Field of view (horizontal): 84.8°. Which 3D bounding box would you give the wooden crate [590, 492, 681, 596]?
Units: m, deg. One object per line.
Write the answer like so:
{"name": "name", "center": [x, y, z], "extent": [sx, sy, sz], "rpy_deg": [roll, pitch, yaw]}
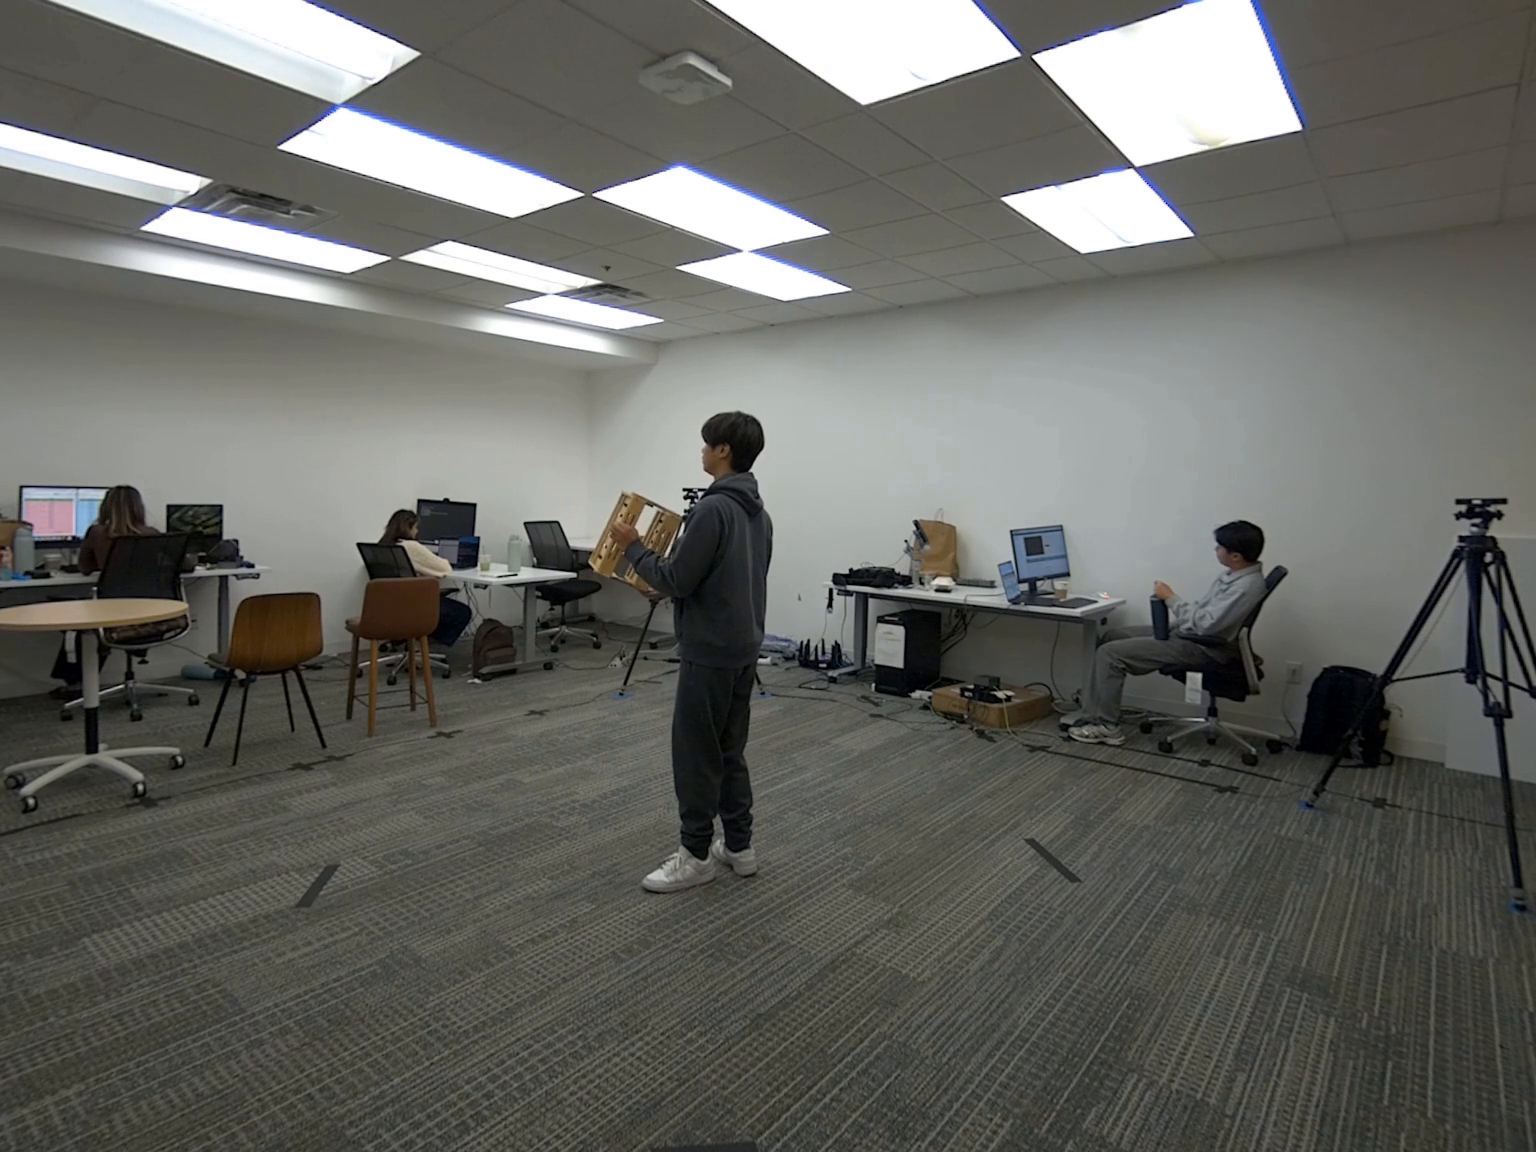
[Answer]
{"name": "wooden crate", "center": [-0.484, -0.122, 3.197], "extent": [0.266, 0.324, 0.310], "rpy_deg": [25, 0, -22]}
